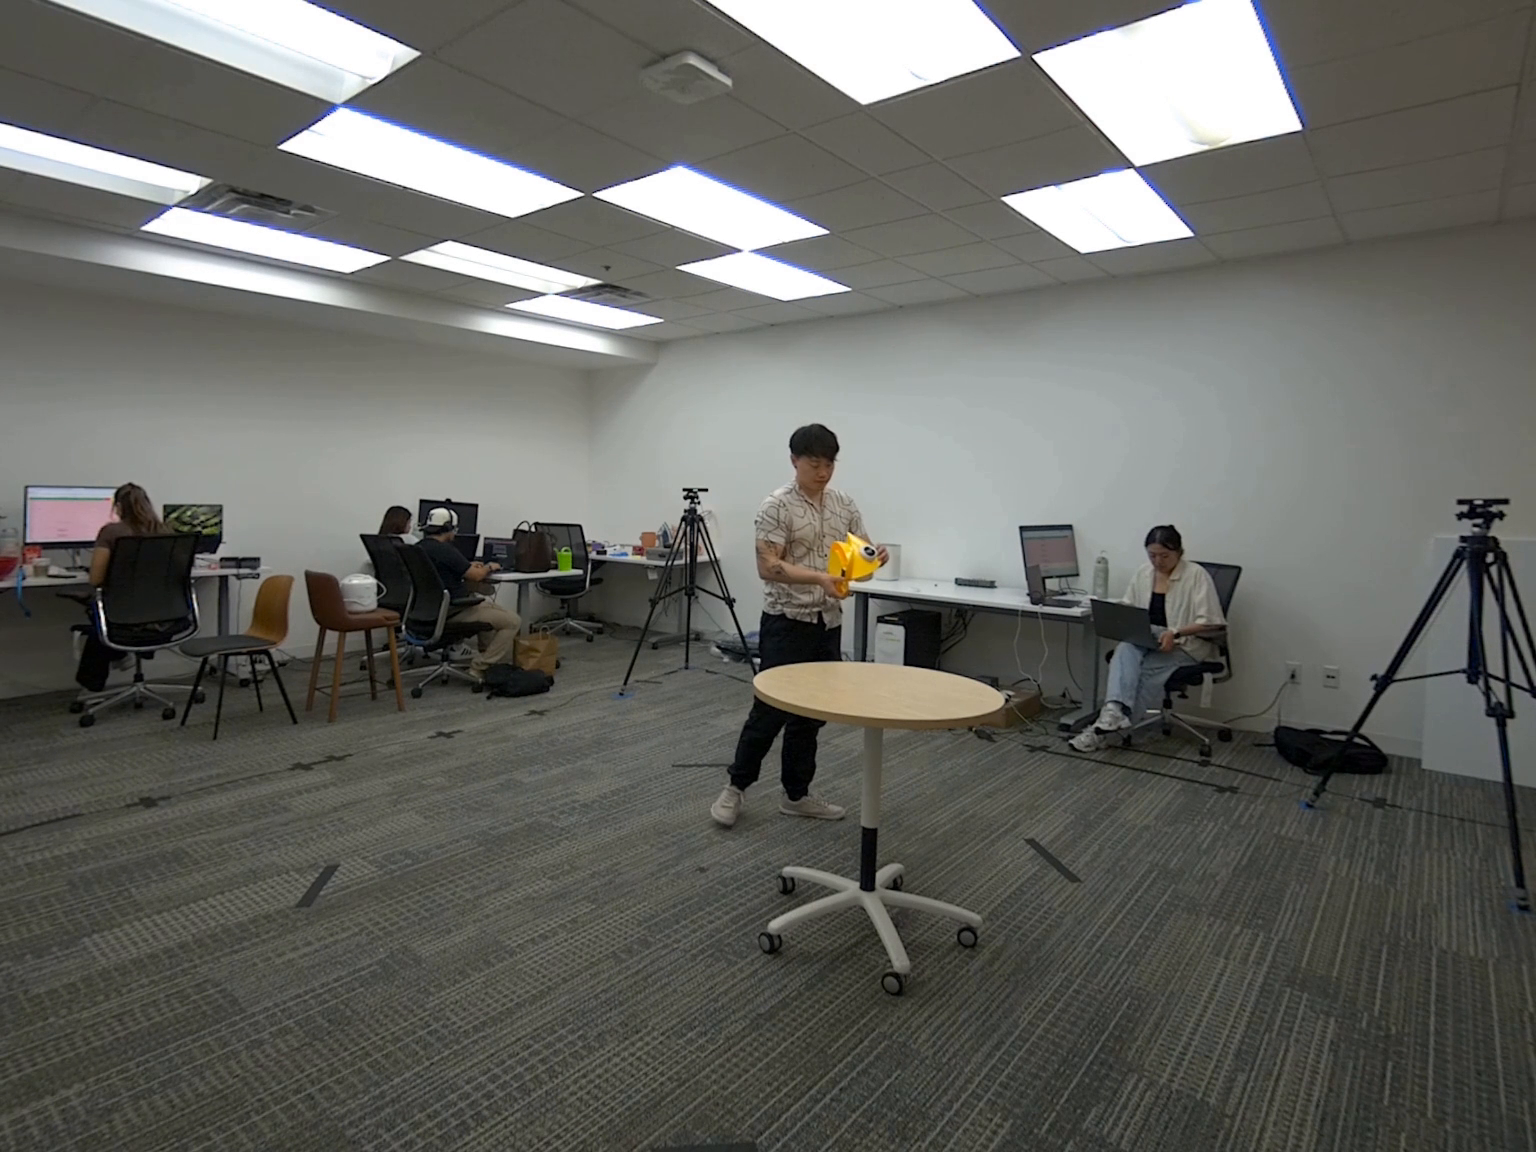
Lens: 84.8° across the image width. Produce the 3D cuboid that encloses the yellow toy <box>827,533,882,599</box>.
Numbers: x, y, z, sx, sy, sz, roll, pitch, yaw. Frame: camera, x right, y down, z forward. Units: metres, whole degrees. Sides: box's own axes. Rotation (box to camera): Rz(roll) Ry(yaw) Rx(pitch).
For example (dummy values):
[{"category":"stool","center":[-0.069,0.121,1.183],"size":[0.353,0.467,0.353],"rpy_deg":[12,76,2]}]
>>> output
[{"category":"yellow toy","center":[0.356,-0.048,3.325],"size":[0.227,0.200,0.200],"rpy_deg":[-5,30,-19]}]
